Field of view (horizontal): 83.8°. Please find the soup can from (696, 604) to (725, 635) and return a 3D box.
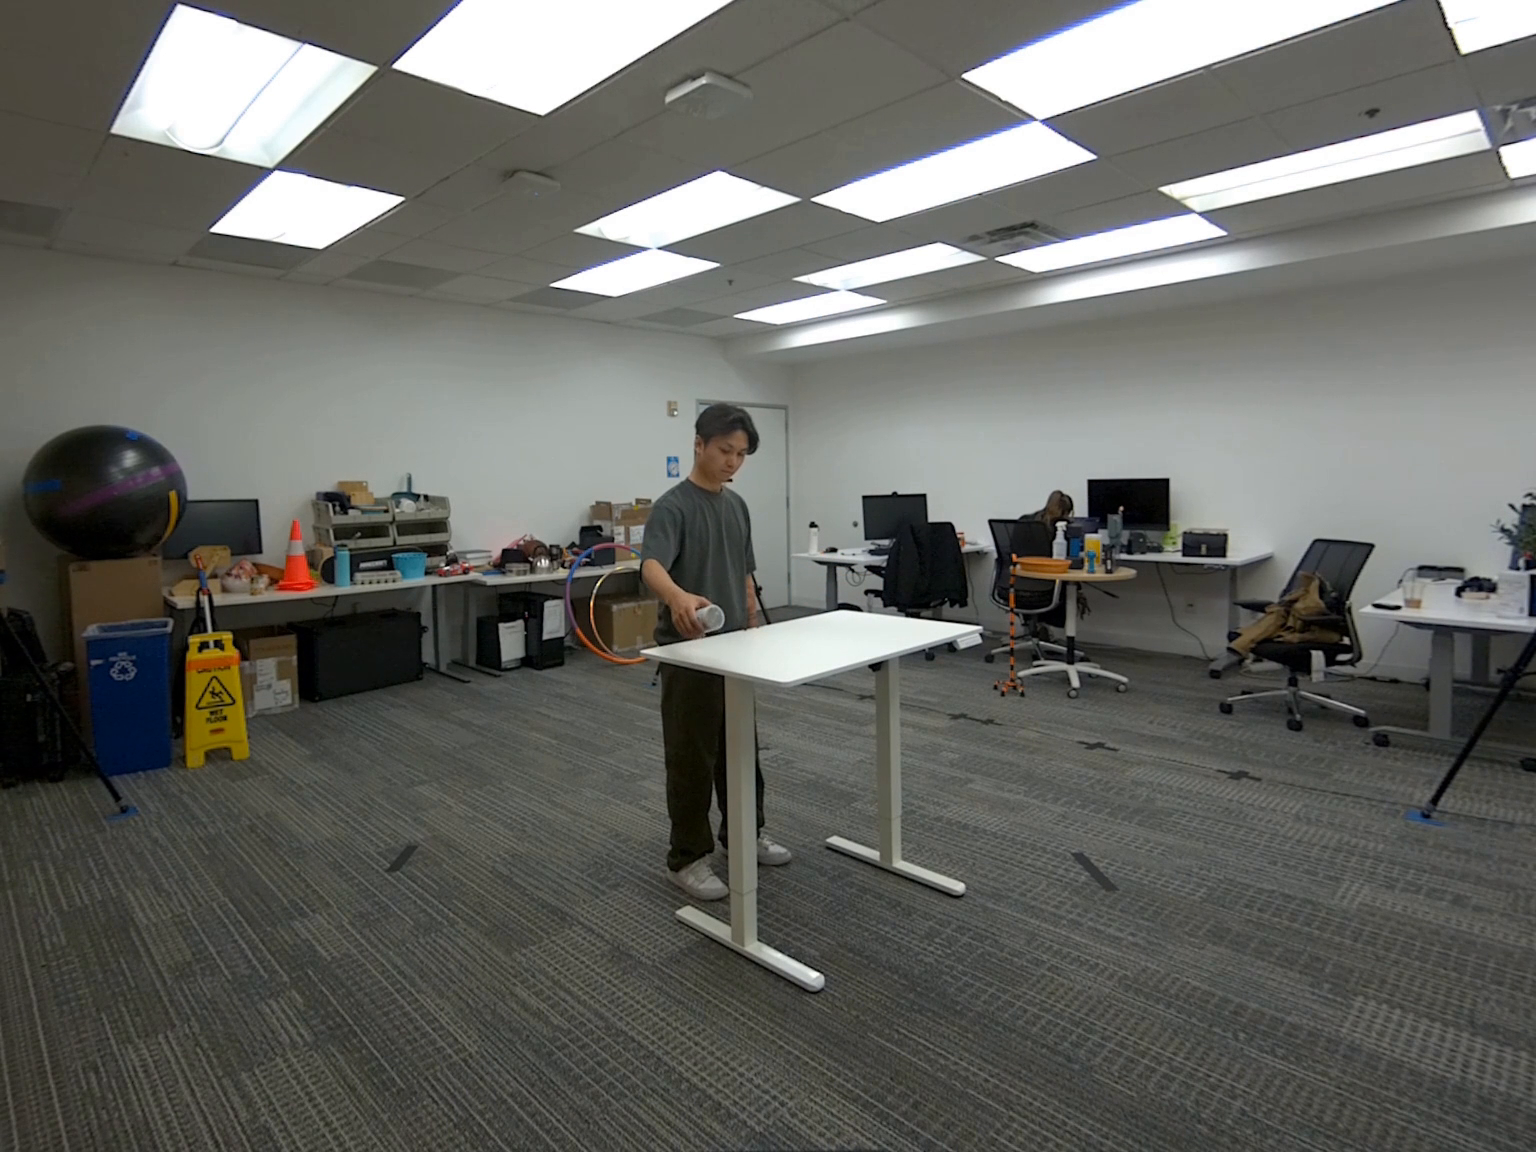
[{"bbox_3d":[-0.182,0.128,2.354,0.065,0.067,0.124,-4,-4,-31],"label":"soup can"}]
